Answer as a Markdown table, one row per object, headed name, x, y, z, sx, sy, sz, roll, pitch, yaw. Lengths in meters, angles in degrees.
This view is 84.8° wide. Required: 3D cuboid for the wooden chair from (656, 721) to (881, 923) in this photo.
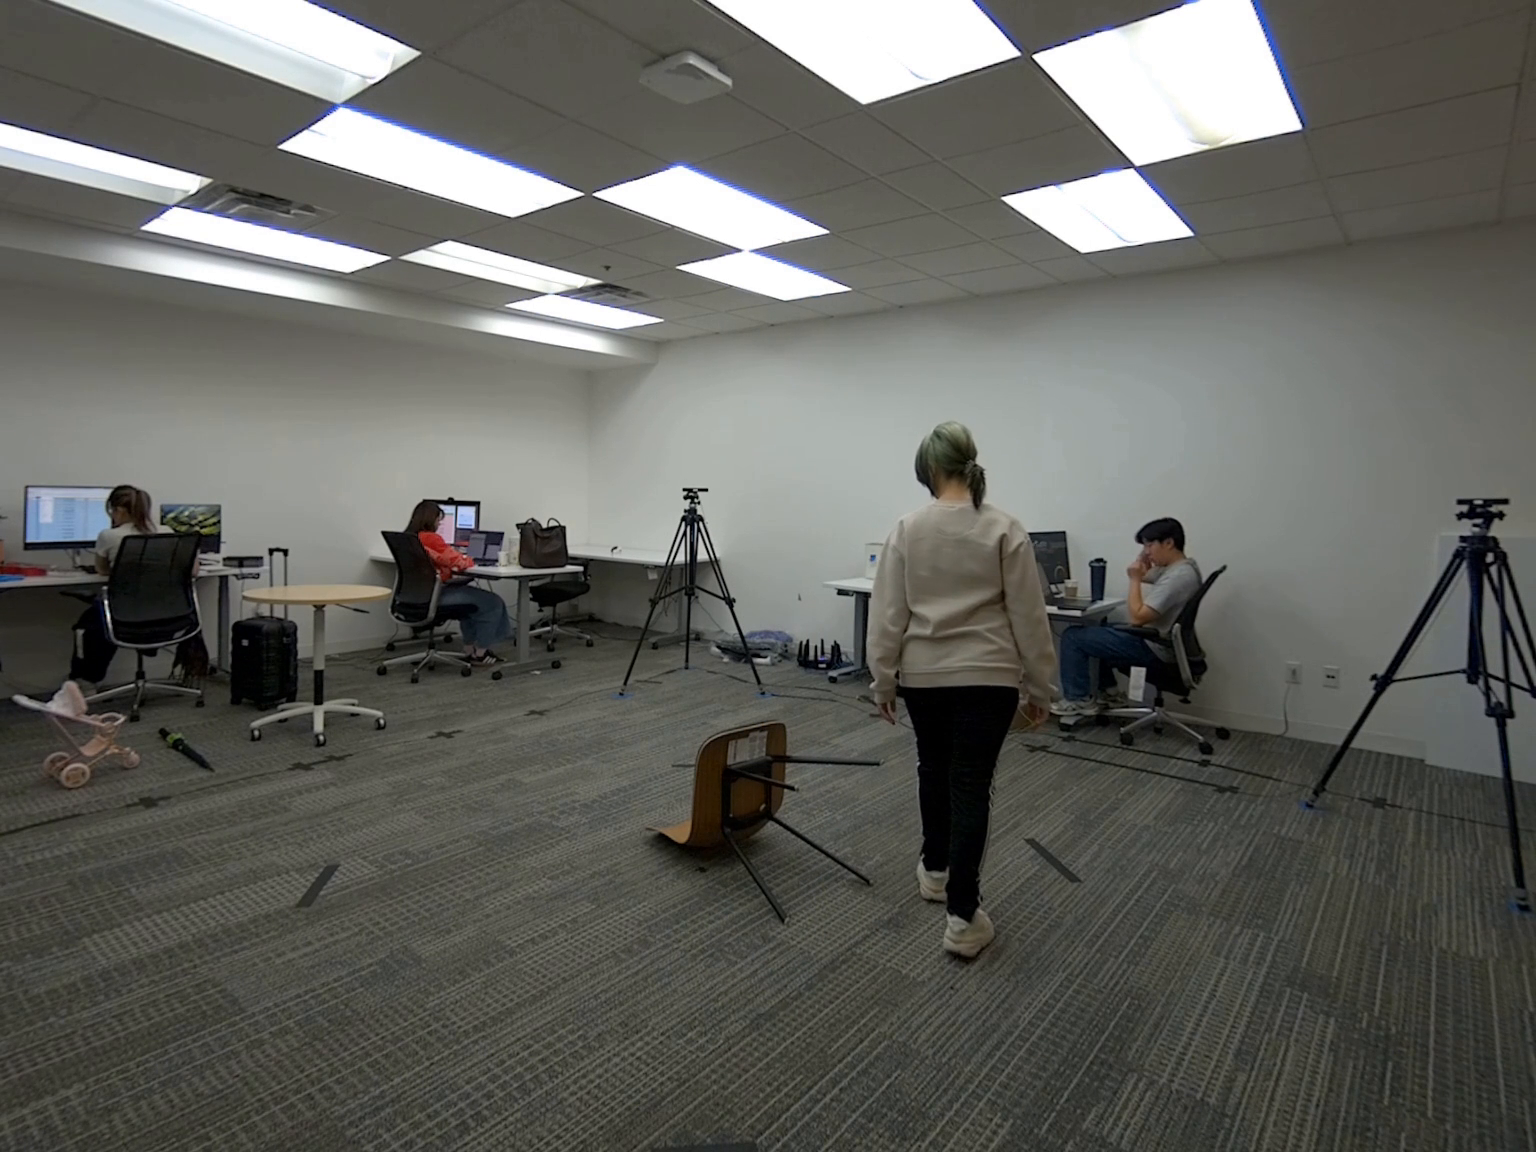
| name | x | y | z | sx | sy | sz | roll | pitch | yaw |
| --- | --- | --- | --- | --- | --- | --- | --- | --- | --- |
| wooden chair | -0.080 | 0.809 | 3.163 | 0.463 | 0.522 | 0.907 | -2 | 4 | -43 |
